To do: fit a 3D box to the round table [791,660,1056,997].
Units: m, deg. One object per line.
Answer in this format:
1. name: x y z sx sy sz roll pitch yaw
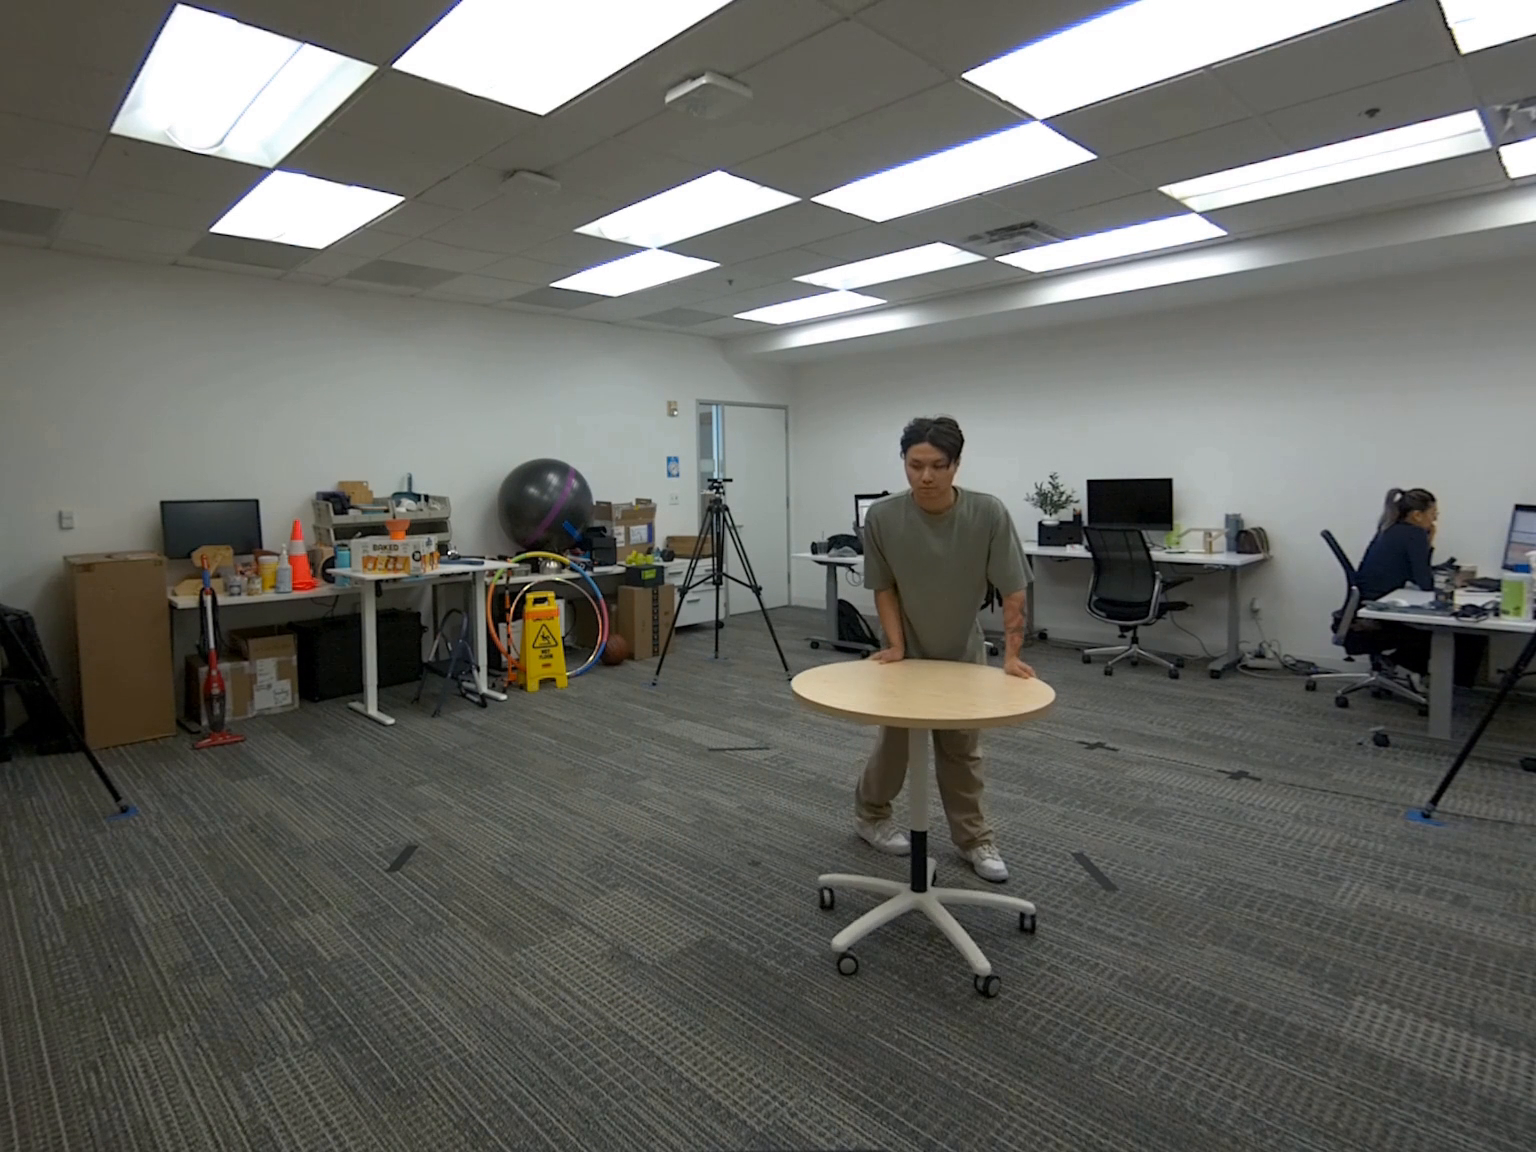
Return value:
1. round table: 0.441 0.709 2.582 0.784 0.784 0.789 -1 4 -2
